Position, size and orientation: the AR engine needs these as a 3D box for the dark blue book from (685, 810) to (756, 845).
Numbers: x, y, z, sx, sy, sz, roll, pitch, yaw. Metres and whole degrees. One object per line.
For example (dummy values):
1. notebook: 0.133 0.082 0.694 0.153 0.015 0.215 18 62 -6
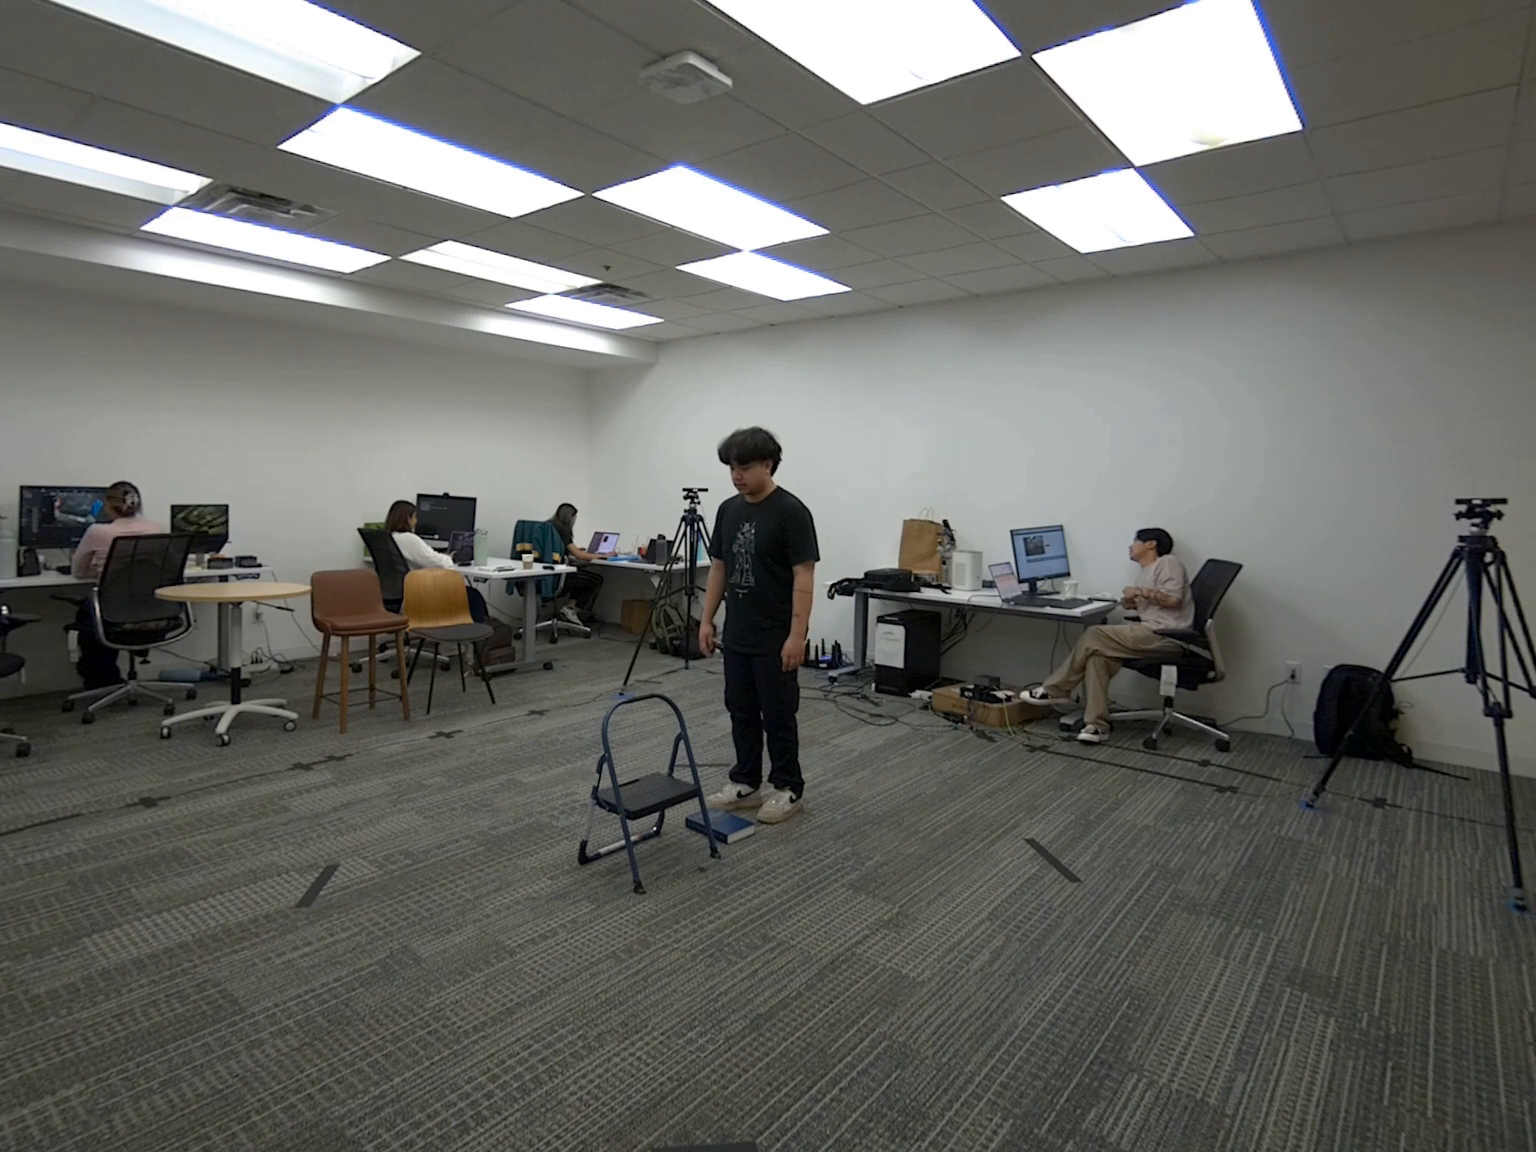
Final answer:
1. dark blue book: -0.204 1.016 3.470 0.253 0.045 0.158 6 7 42
